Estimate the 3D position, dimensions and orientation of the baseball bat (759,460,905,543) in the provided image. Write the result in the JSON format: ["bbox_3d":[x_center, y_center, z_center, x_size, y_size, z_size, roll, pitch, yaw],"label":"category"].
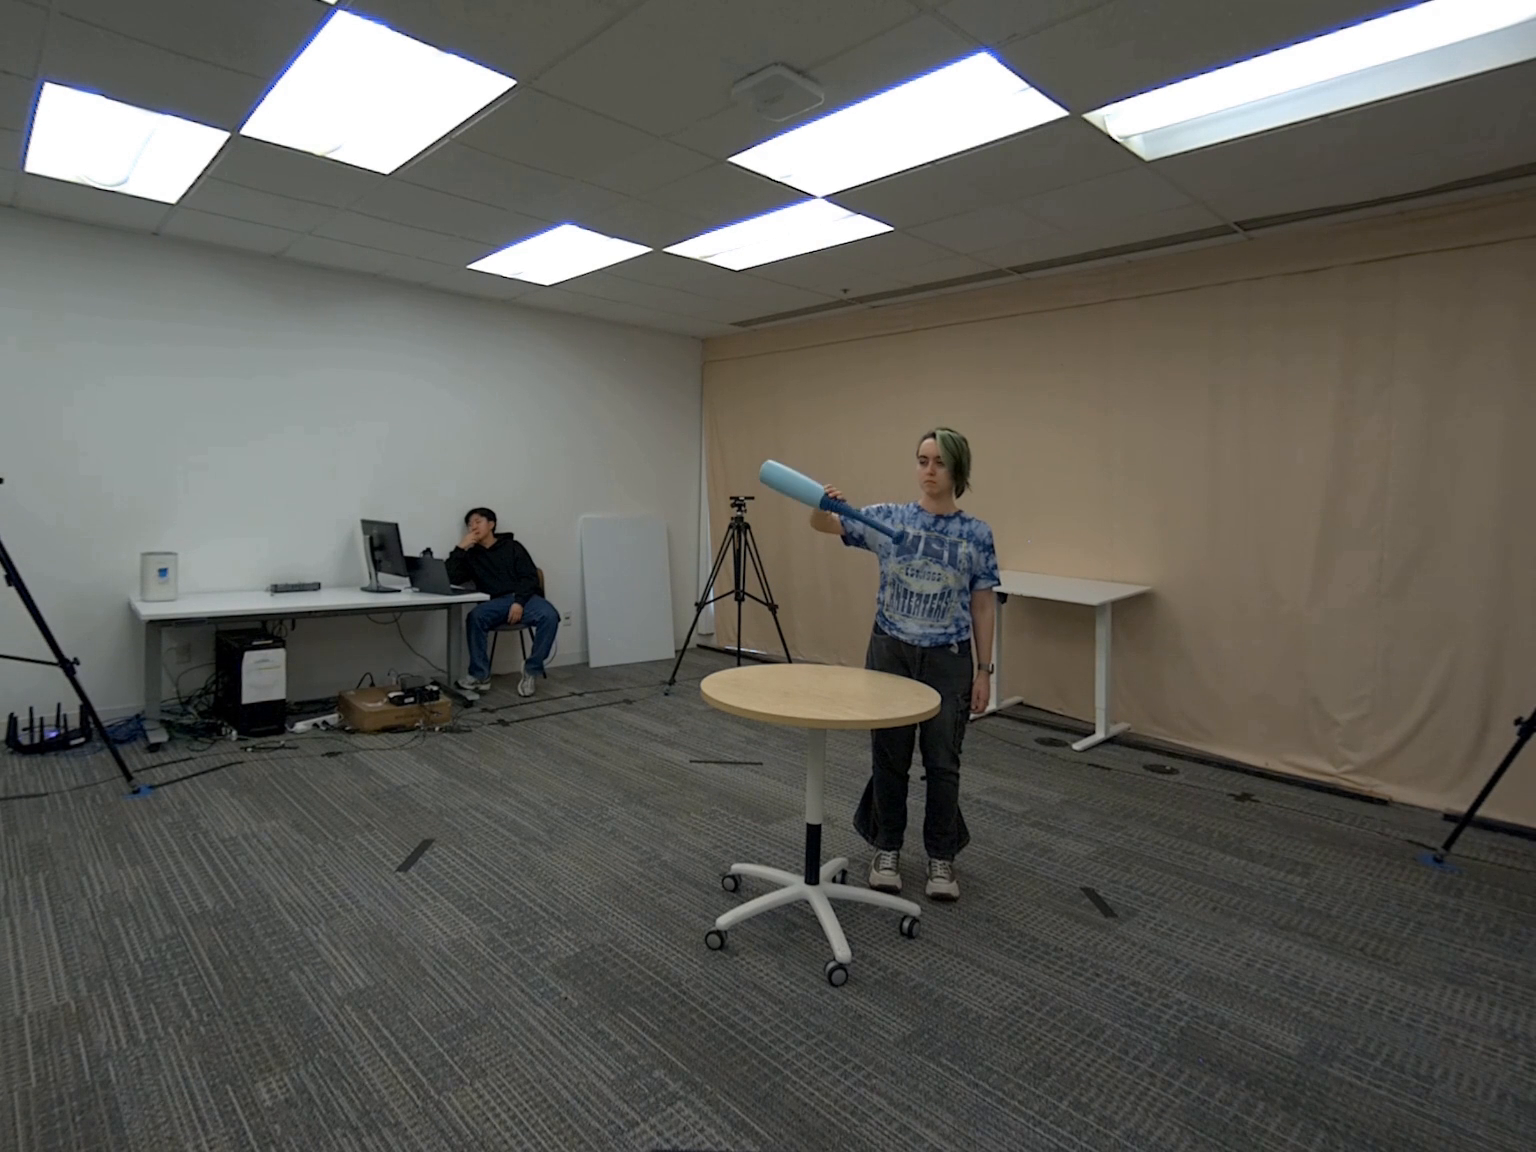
[{"bbox_3d":[0.205,-0.236,2.782,0.555,0.088,0.087,30,16,23],"label":"baseball bat"}]
